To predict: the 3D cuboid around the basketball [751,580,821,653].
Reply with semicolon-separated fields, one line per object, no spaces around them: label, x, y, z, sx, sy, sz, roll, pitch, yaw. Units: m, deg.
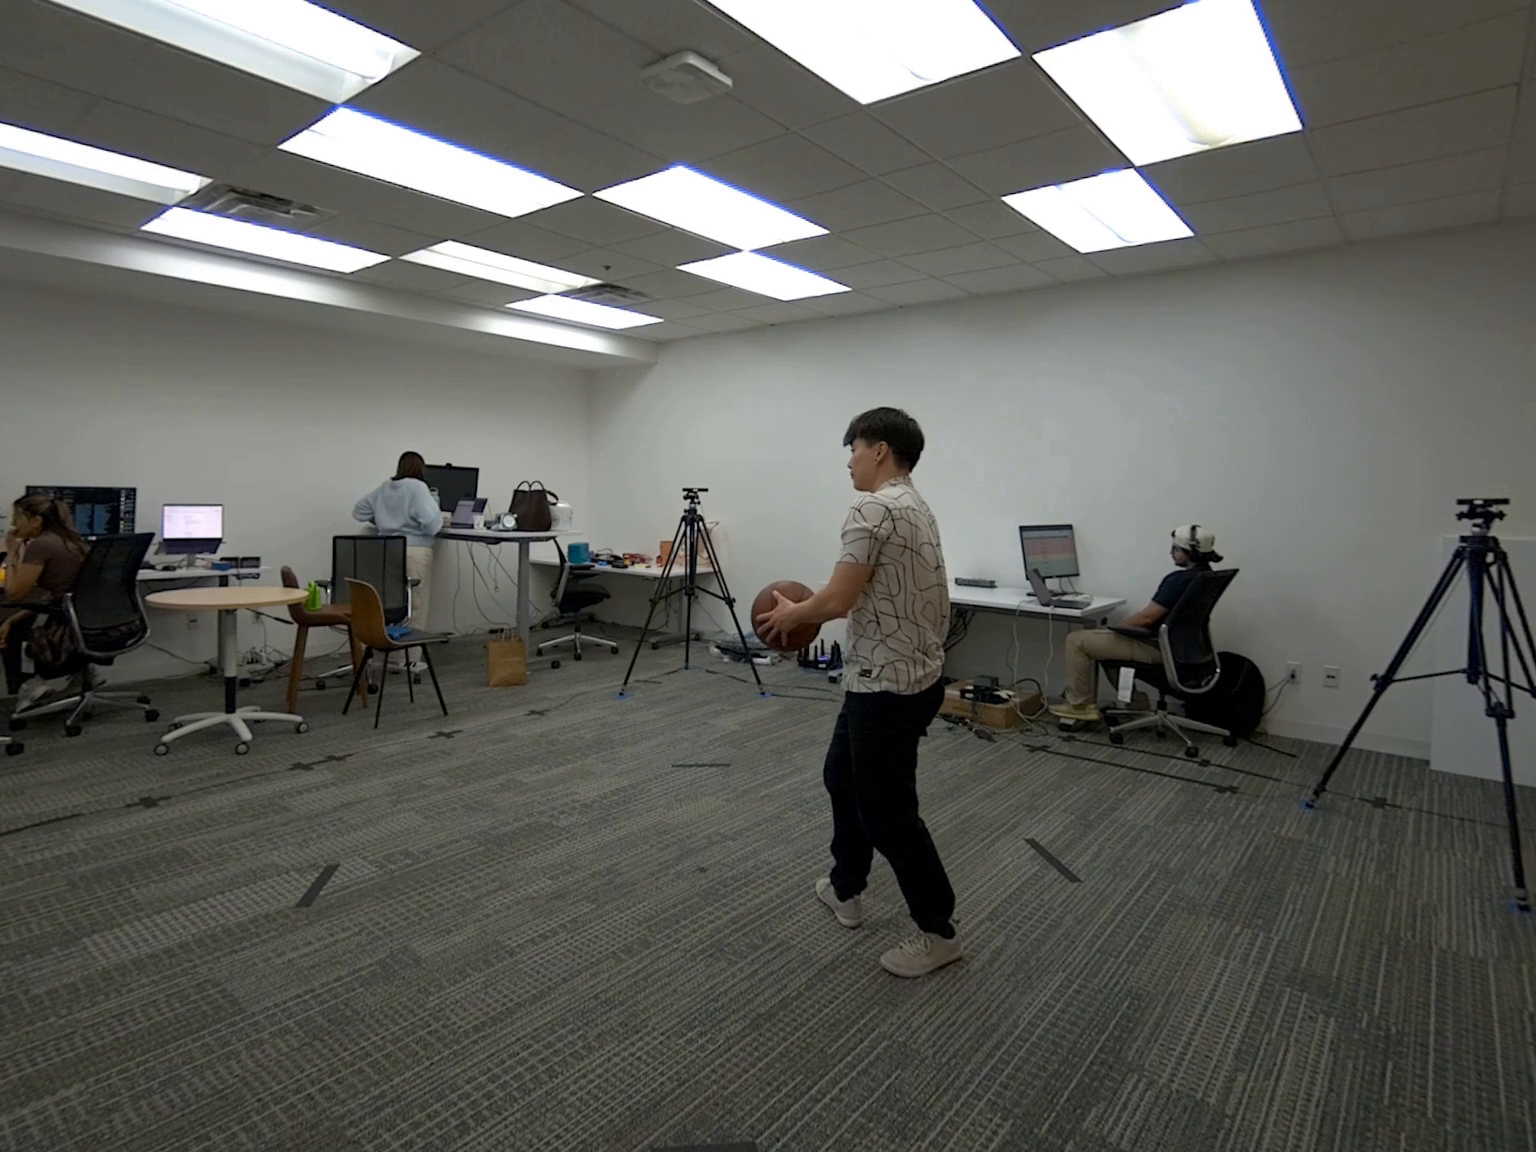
basketball;0.061;0.126;2.826;0.235;0.235;0.237;1;4;-2
